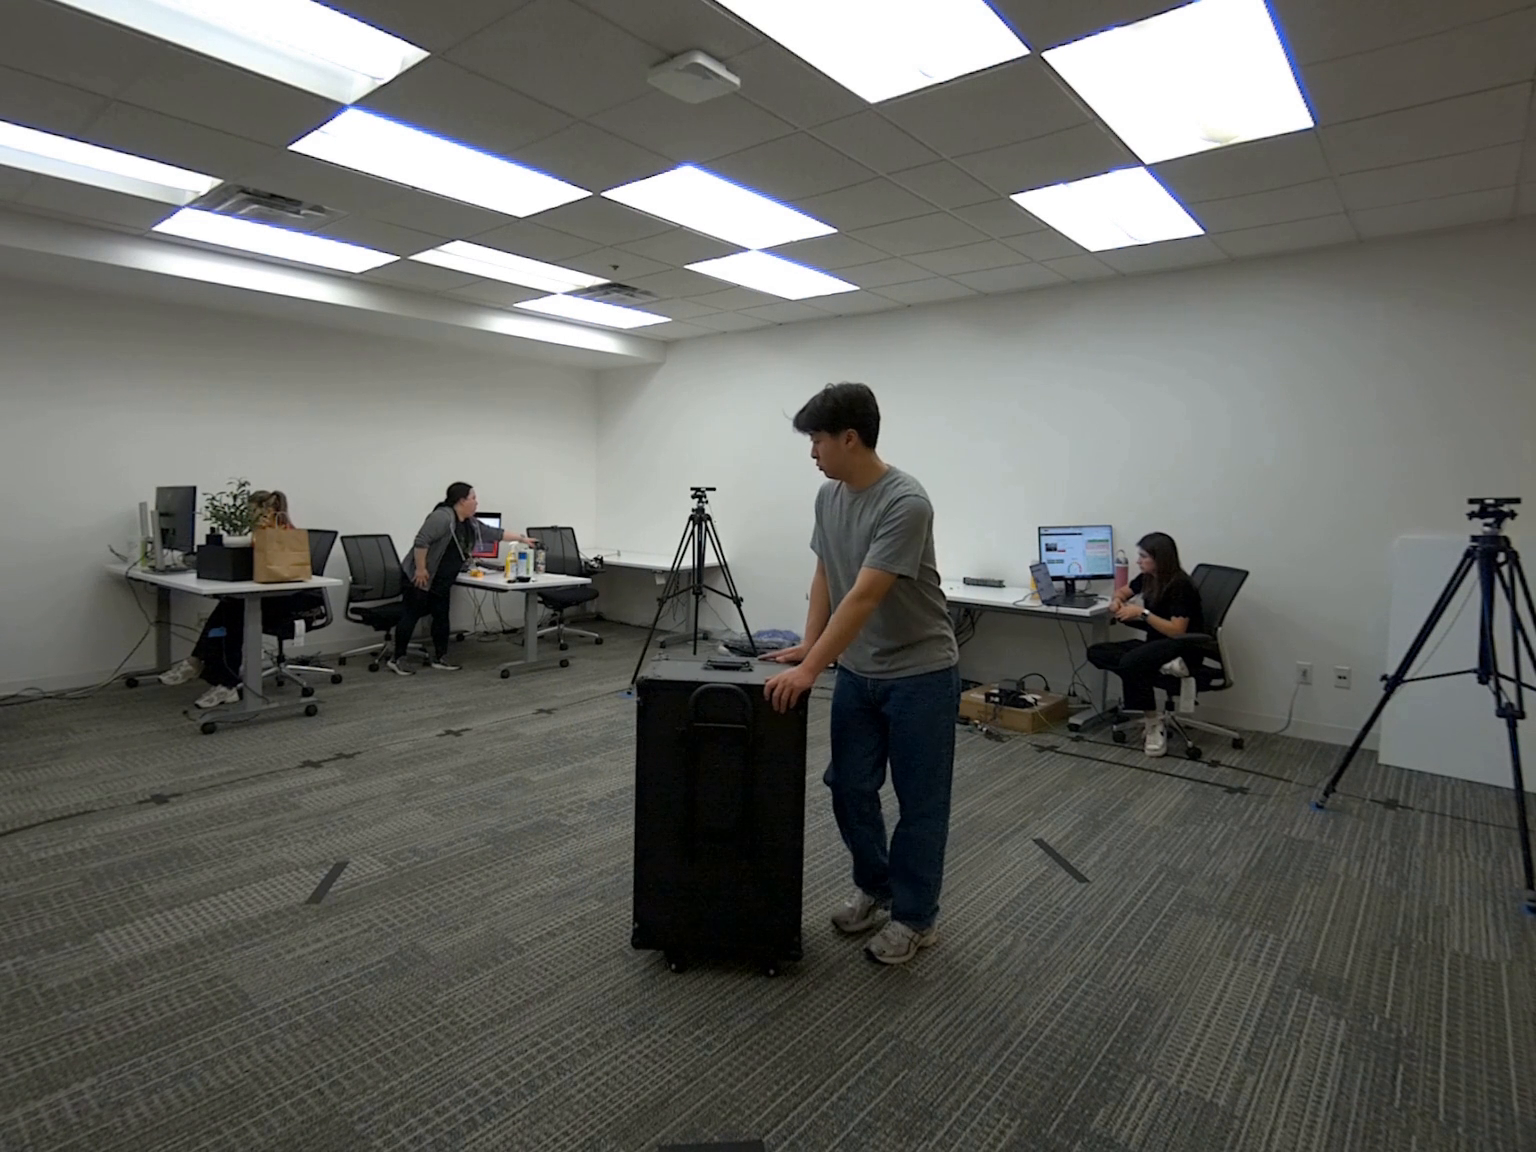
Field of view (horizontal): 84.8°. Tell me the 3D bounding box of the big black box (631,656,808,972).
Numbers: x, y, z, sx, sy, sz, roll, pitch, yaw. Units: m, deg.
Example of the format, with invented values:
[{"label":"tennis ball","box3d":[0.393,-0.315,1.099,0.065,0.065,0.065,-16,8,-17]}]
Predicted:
[{"label":"big black box","box3d":[-0.134,0.700,2.546,0.524,0.858,0.396,2,4,4]}]
